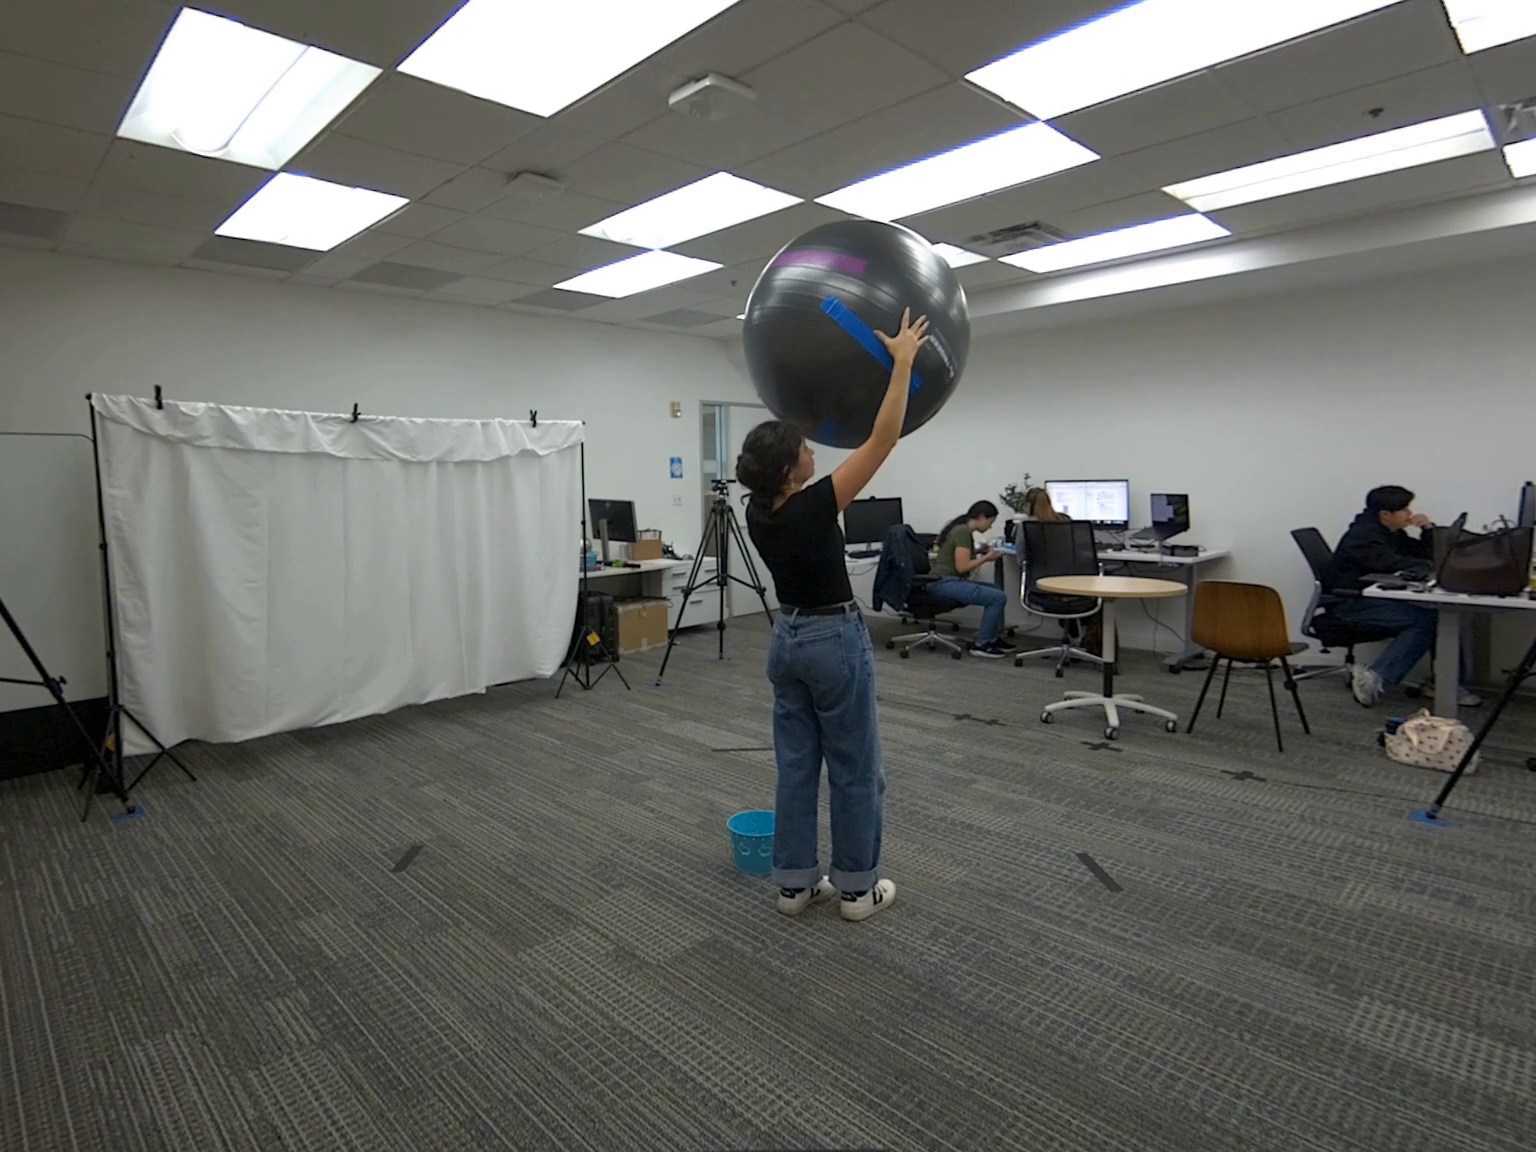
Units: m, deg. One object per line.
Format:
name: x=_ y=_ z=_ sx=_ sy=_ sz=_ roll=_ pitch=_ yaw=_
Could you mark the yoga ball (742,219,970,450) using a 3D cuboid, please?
yoga ball: x=0.294 y=-0.811 z=2.904 sx=0.757 sy=0.755 sz=0.762 roll=-1 pitch=5 yaw=-2
